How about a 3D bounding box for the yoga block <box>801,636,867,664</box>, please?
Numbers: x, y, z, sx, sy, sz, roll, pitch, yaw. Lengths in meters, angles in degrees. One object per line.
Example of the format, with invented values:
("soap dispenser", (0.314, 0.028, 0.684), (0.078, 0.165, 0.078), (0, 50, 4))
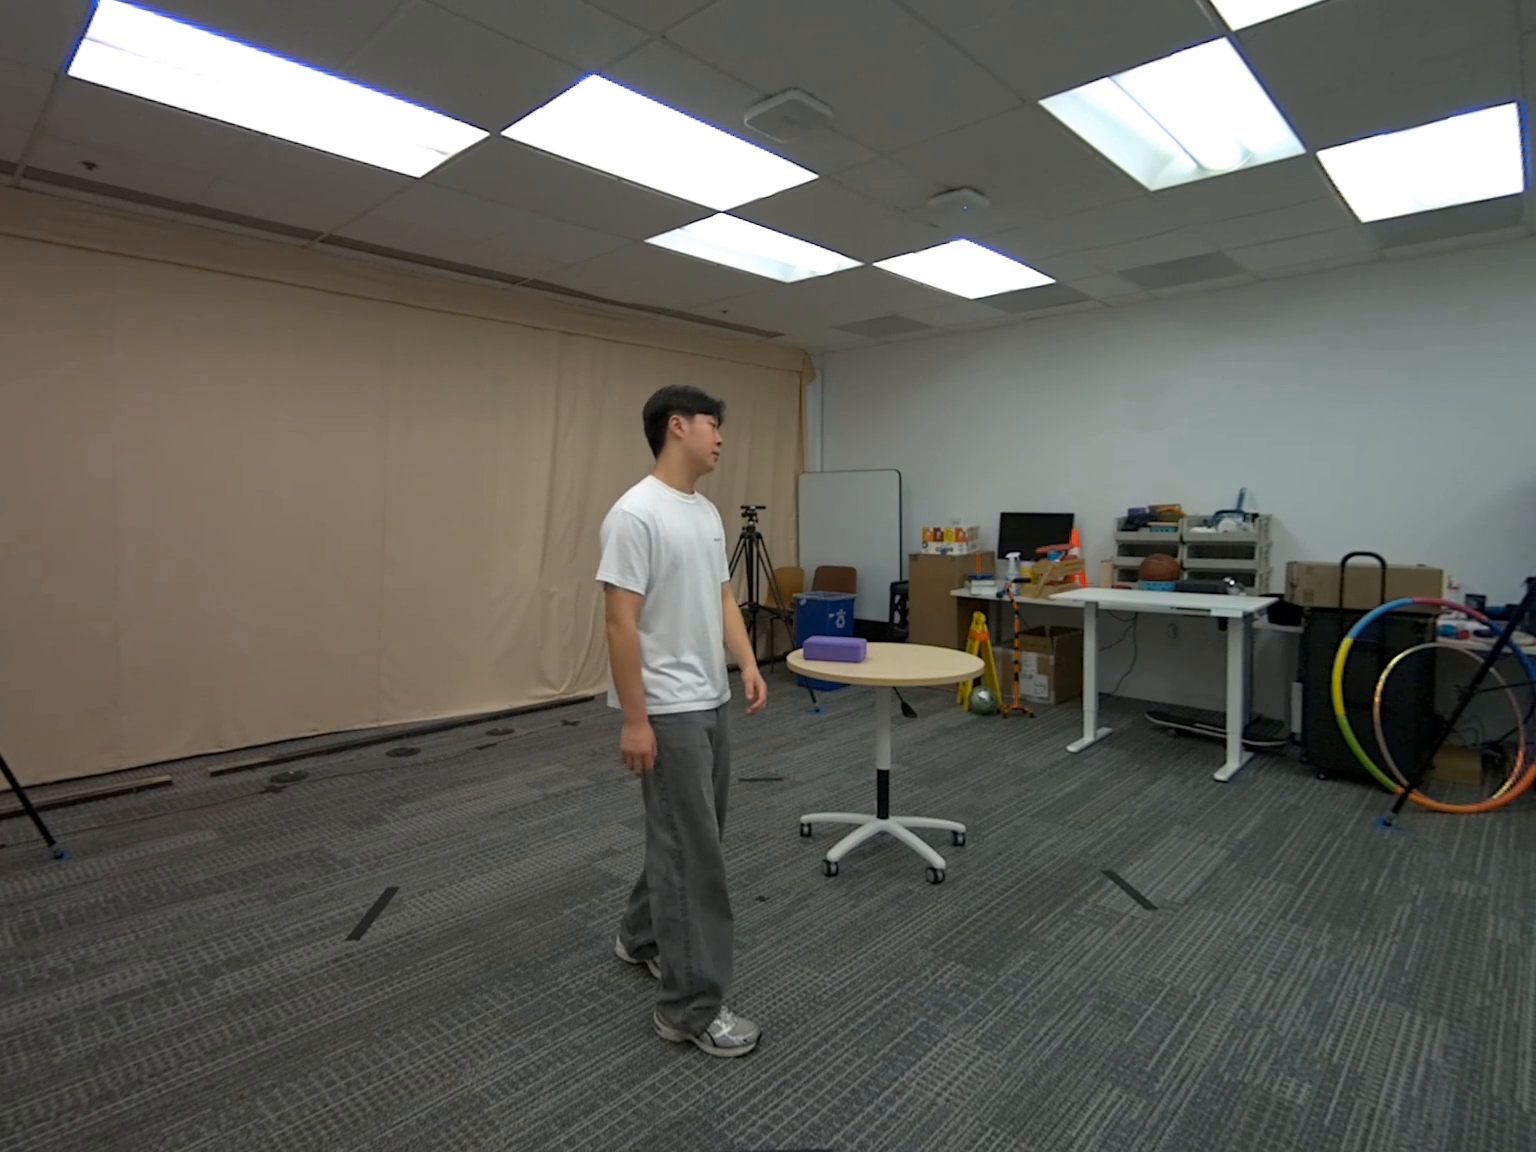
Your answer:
("yoga block", (0.279, 0.292, 3.353), (0.234, 0.076, 0.146), (2, 5, 18))
